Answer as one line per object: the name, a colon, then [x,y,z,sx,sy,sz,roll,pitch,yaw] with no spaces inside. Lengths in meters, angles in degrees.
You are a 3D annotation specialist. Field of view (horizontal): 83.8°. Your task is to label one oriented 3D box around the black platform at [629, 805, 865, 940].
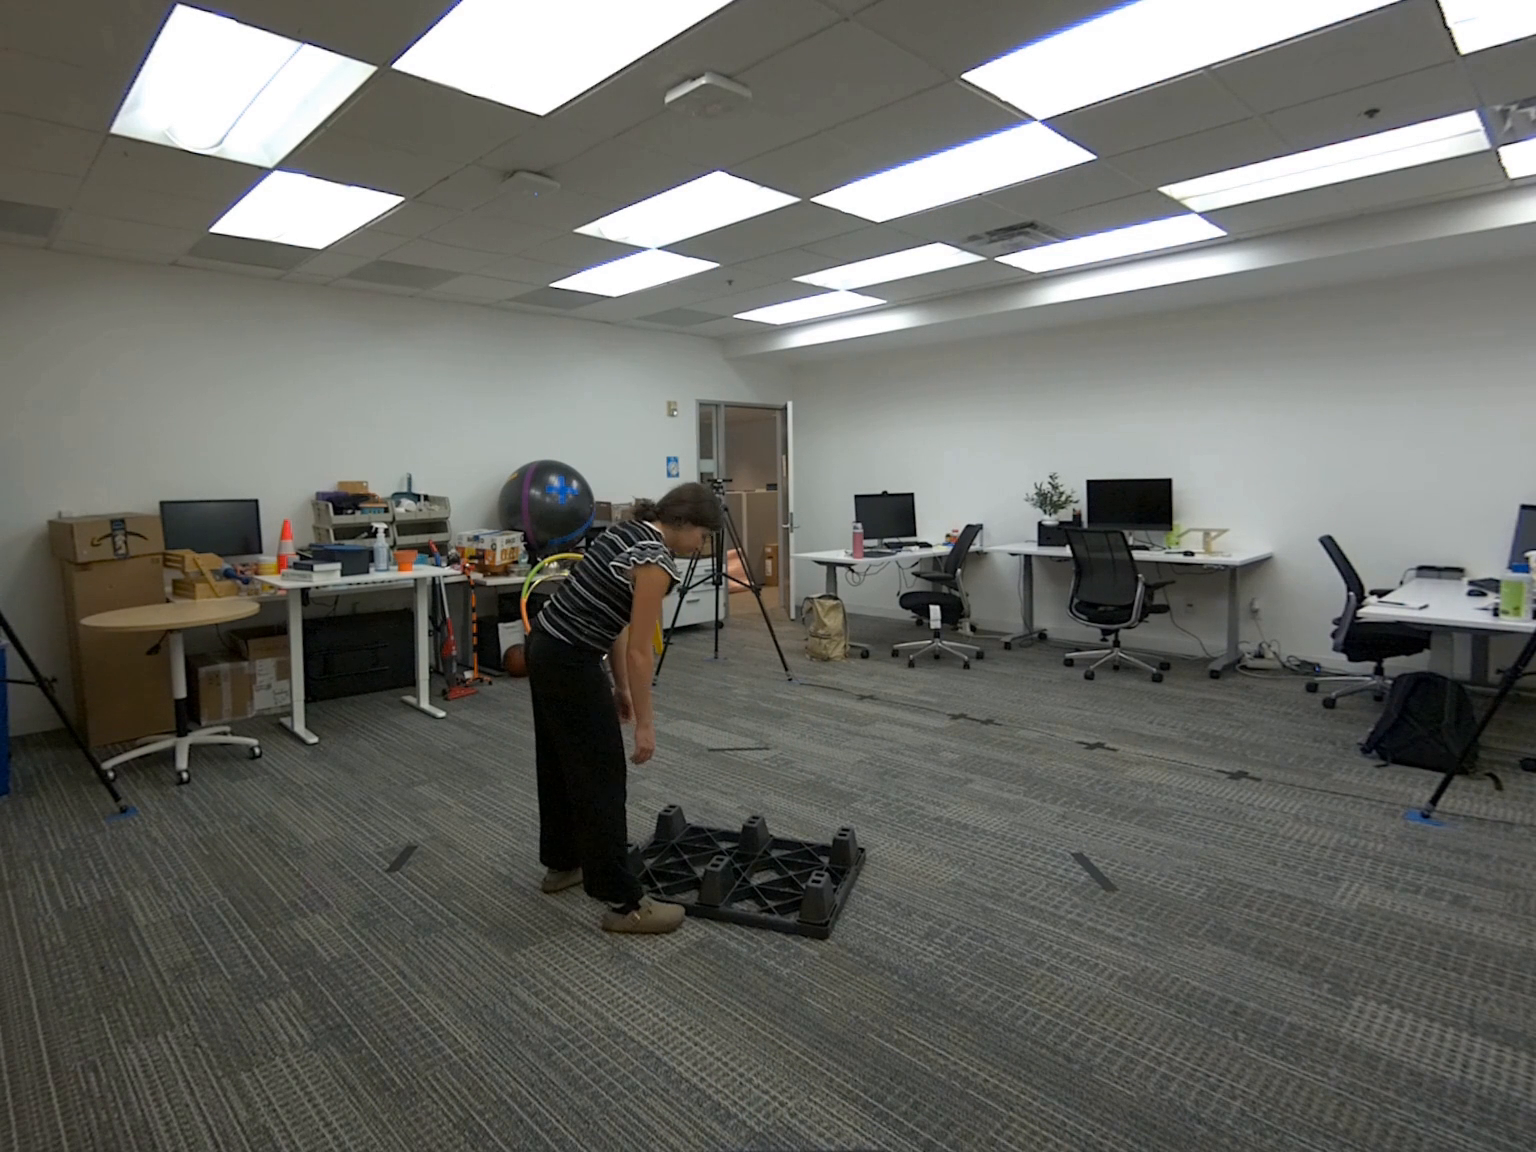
black platform: [-0.110,0.993,2.993,0.821,0.143,0.596,1,7,20]
